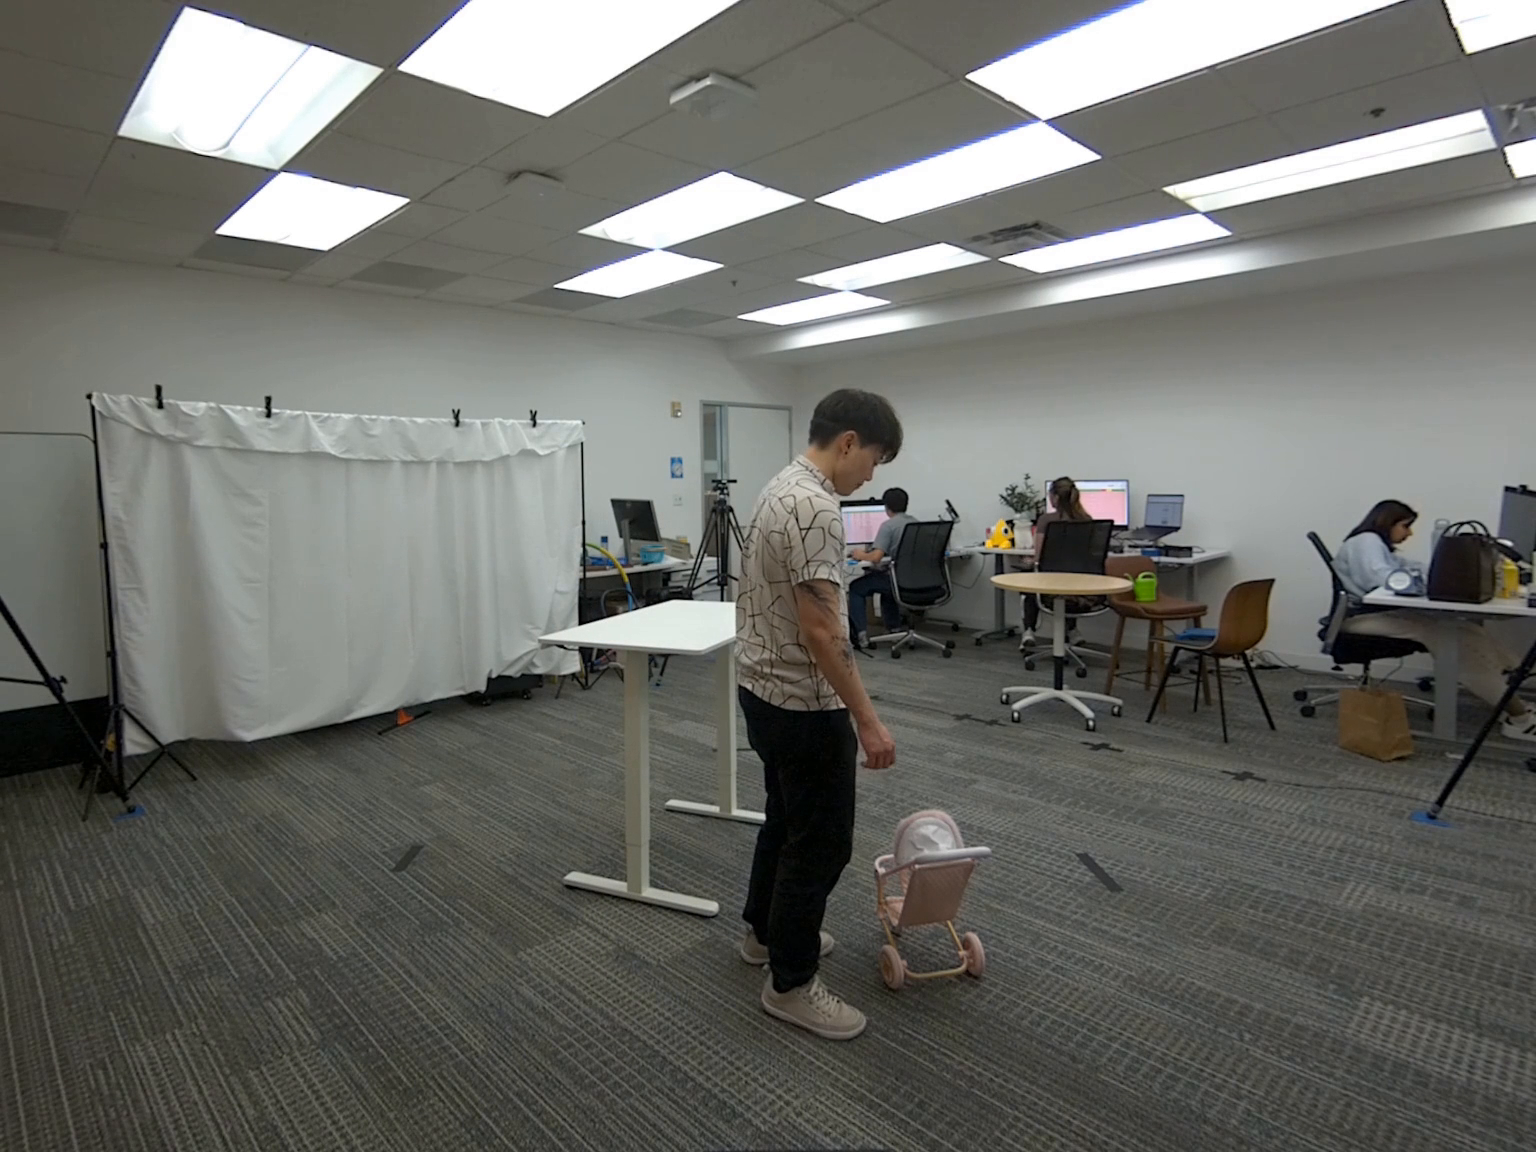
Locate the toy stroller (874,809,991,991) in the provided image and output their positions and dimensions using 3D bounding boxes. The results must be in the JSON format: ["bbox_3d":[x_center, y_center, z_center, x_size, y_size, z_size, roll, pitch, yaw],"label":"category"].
[{"bbox_3d":[0.451,0.891,2.426,0.279,0.526,0.350,-1,20,-11],"label":"toy stroller"}]
